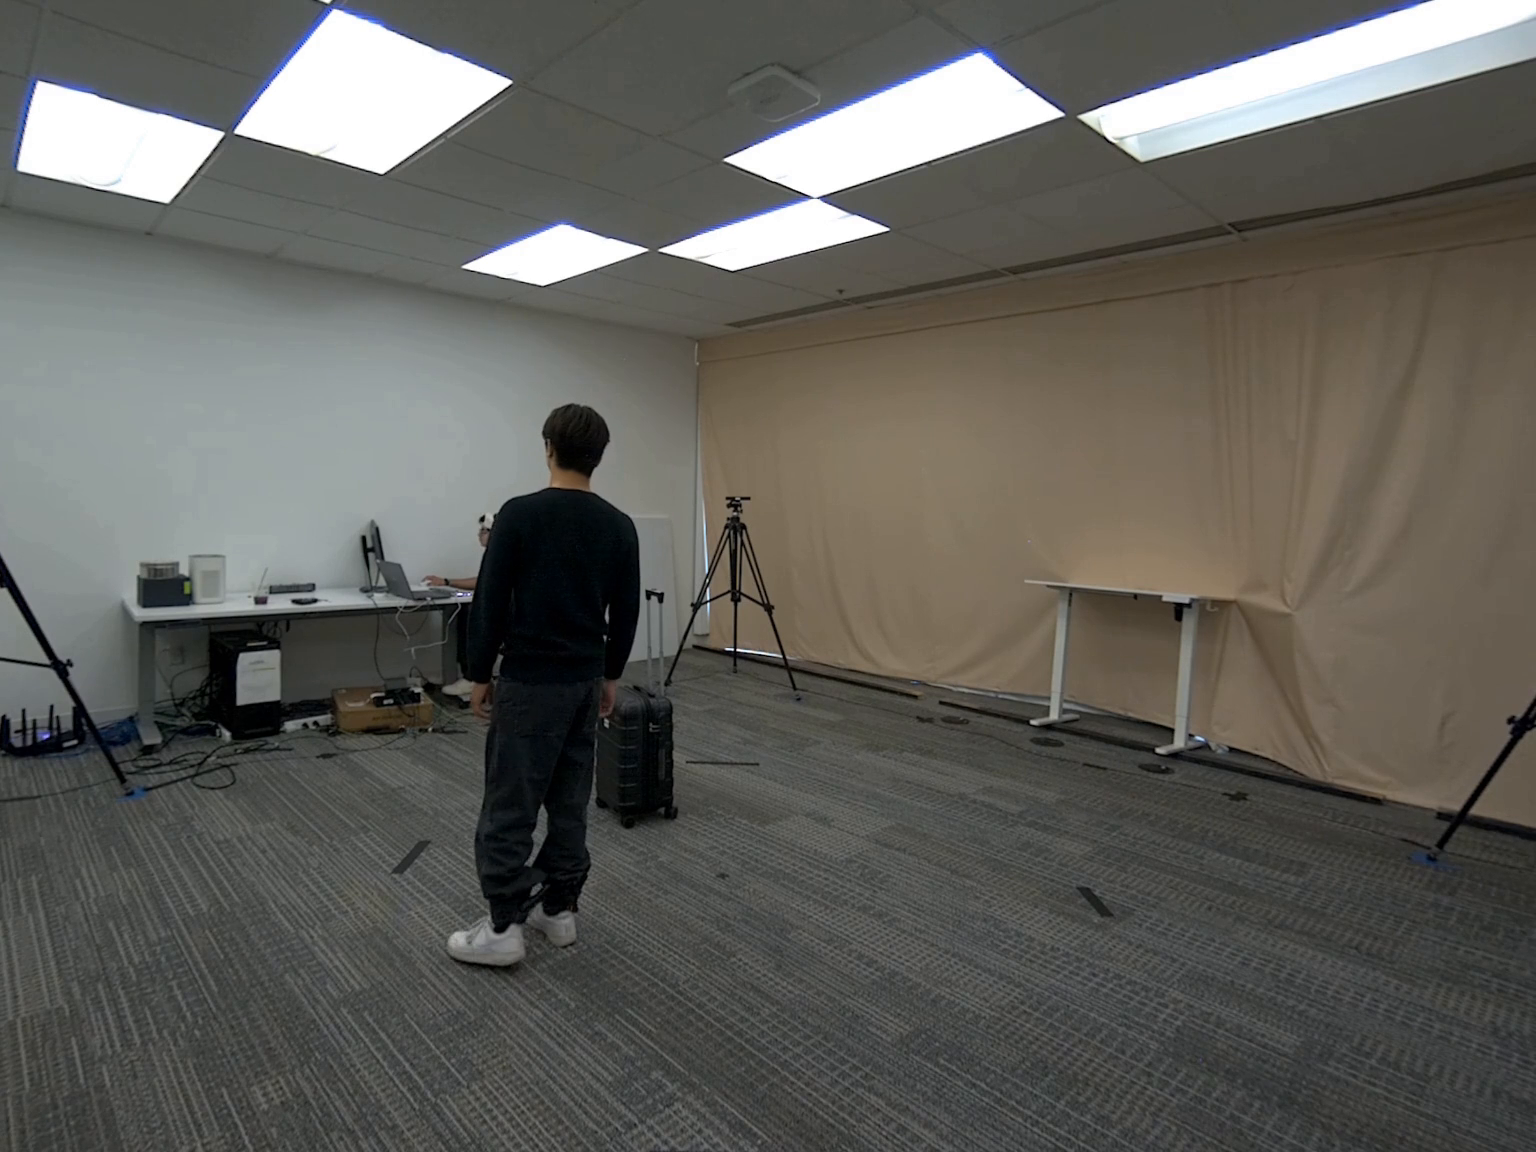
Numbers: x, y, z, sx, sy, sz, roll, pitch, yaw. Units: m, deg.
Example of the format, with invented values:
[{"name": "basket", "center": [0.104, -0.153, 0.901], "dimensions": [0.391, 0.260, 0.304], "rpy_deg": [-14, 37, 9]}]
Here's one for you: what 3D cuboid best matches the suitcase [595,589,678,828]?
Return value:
[{"name": "suitcase", "center": [-0.595, 0.568, 3.687], "dimensions": [0.252, 0.975, 0.392], "rpy_deg": [-3, 5, -28]}]
